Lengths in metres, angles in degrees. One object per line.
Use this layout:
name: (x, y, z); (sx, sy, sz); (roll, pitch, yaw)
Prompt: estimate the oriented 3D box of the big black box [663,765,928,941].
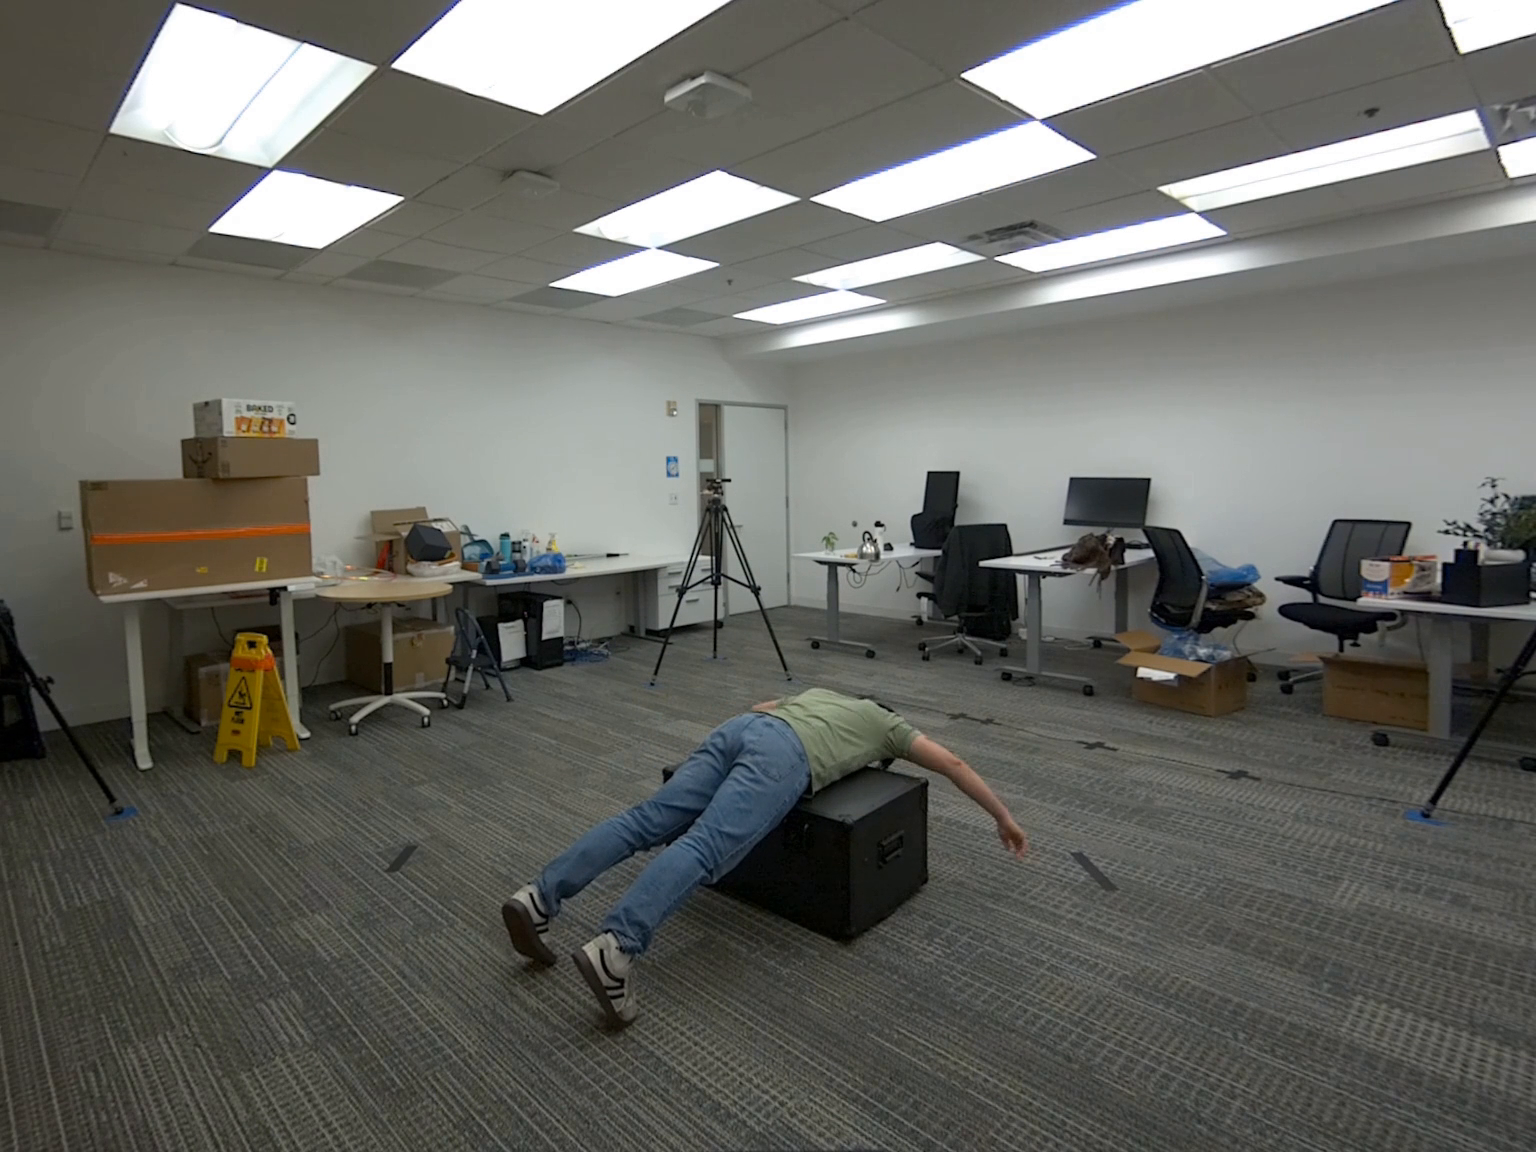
big black box: (0.061, 0.871, 2.985); (0.888, 0.394, 0.508); (6, 8, 39)
